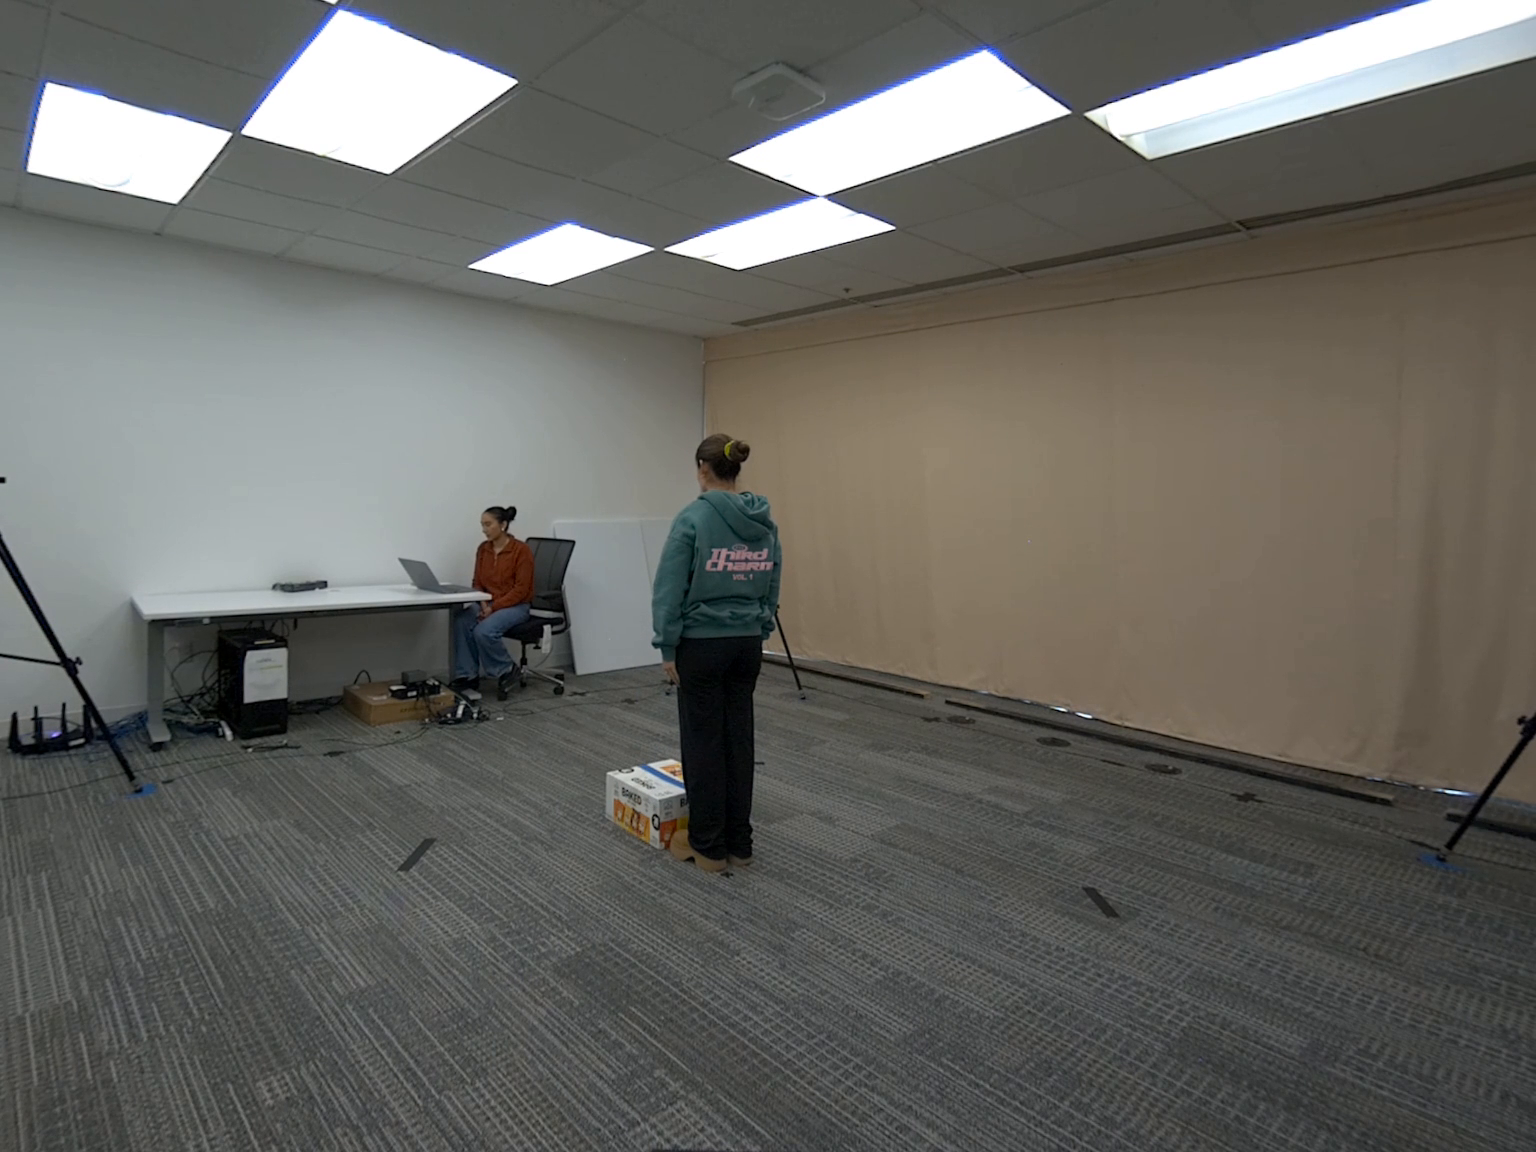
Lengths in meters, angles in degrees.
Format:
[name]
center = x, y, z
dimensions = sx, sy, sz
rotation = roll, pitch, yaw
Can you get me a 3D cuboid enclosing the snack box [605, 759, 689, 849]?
[snack box]
center = -0.444, 0.955, 3.560
dimensions = 0.332, 0.205, 0.415
rotation = -2, 6, -40
